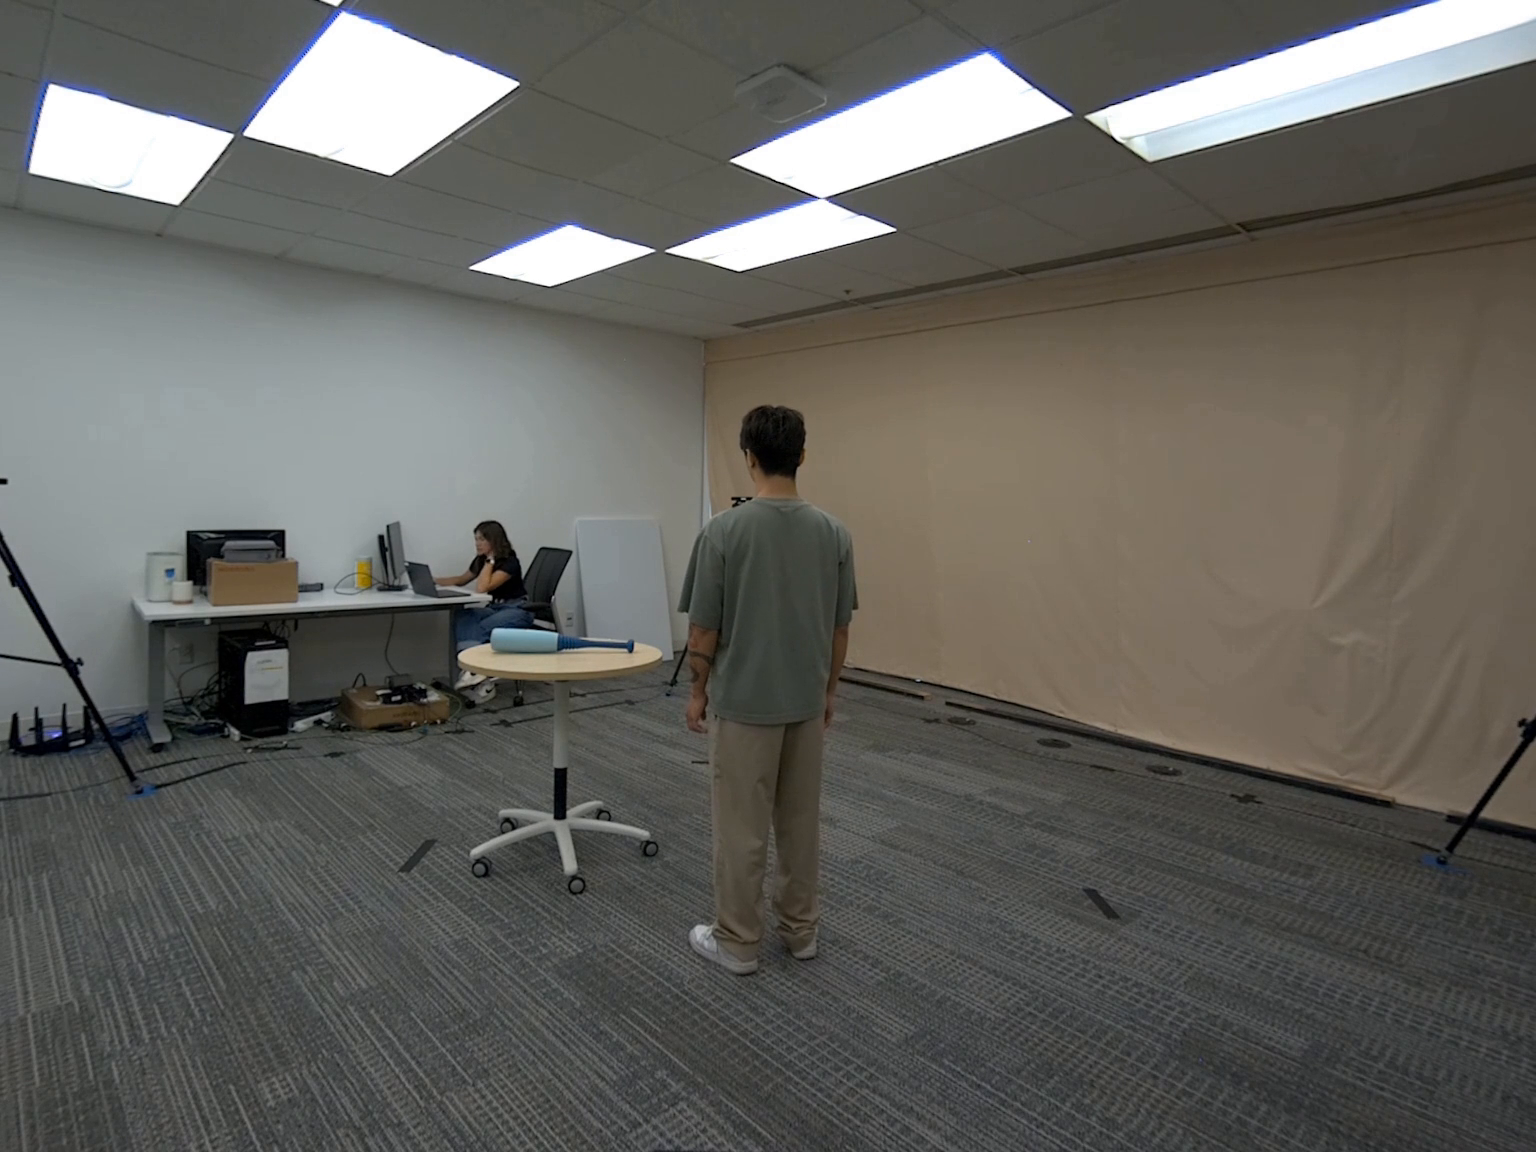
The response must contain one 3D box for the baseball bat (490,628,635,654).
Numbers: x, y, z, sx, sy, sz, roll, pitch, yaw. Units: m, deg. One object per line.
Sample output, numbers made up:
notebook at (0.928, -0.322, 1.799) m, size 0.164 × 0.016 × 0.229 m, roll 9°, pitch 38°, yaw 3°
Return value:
baseball bat at (-0.797, 0.259, 3.245) m, size 0.538 × 0.089 × 0.090 m, roll 4°, pitch 4°, yaw -10°
